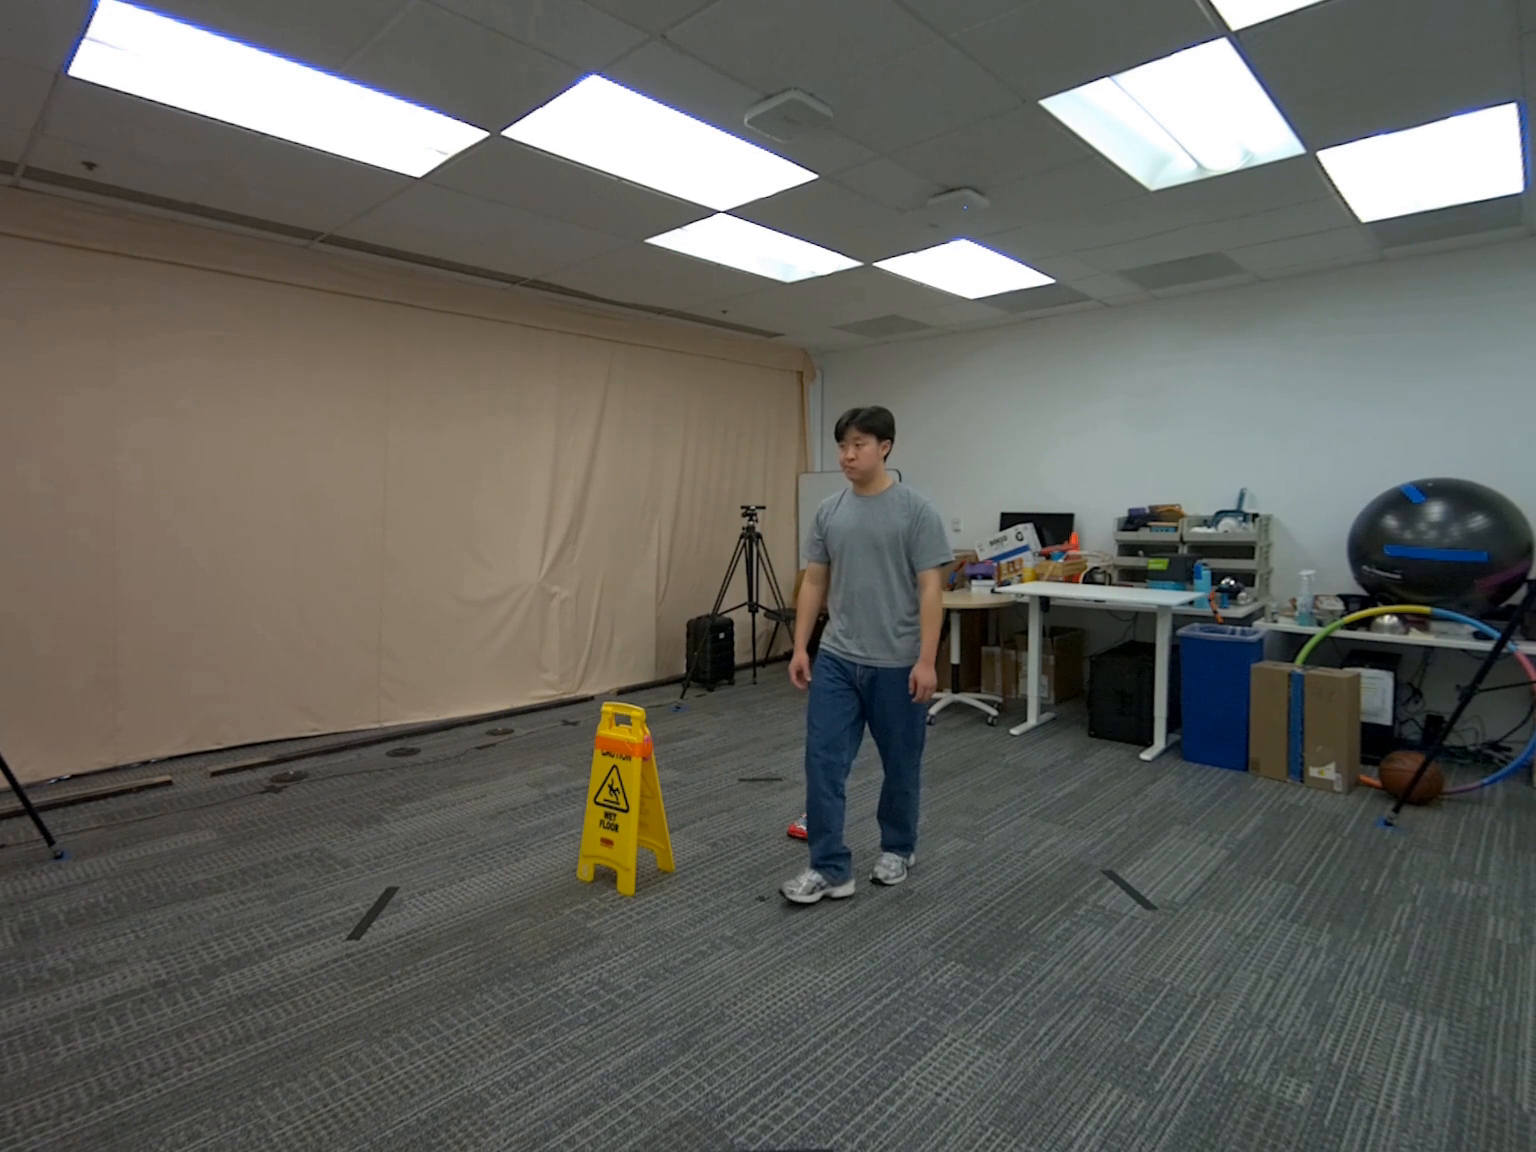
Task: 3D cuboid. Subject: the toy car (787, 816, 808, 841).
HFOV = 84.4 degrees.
[{"bbox_3d":[0.187,1.061,3.599,0.134,0.082,0.249,1,15,30],"label":"toy car"}]
